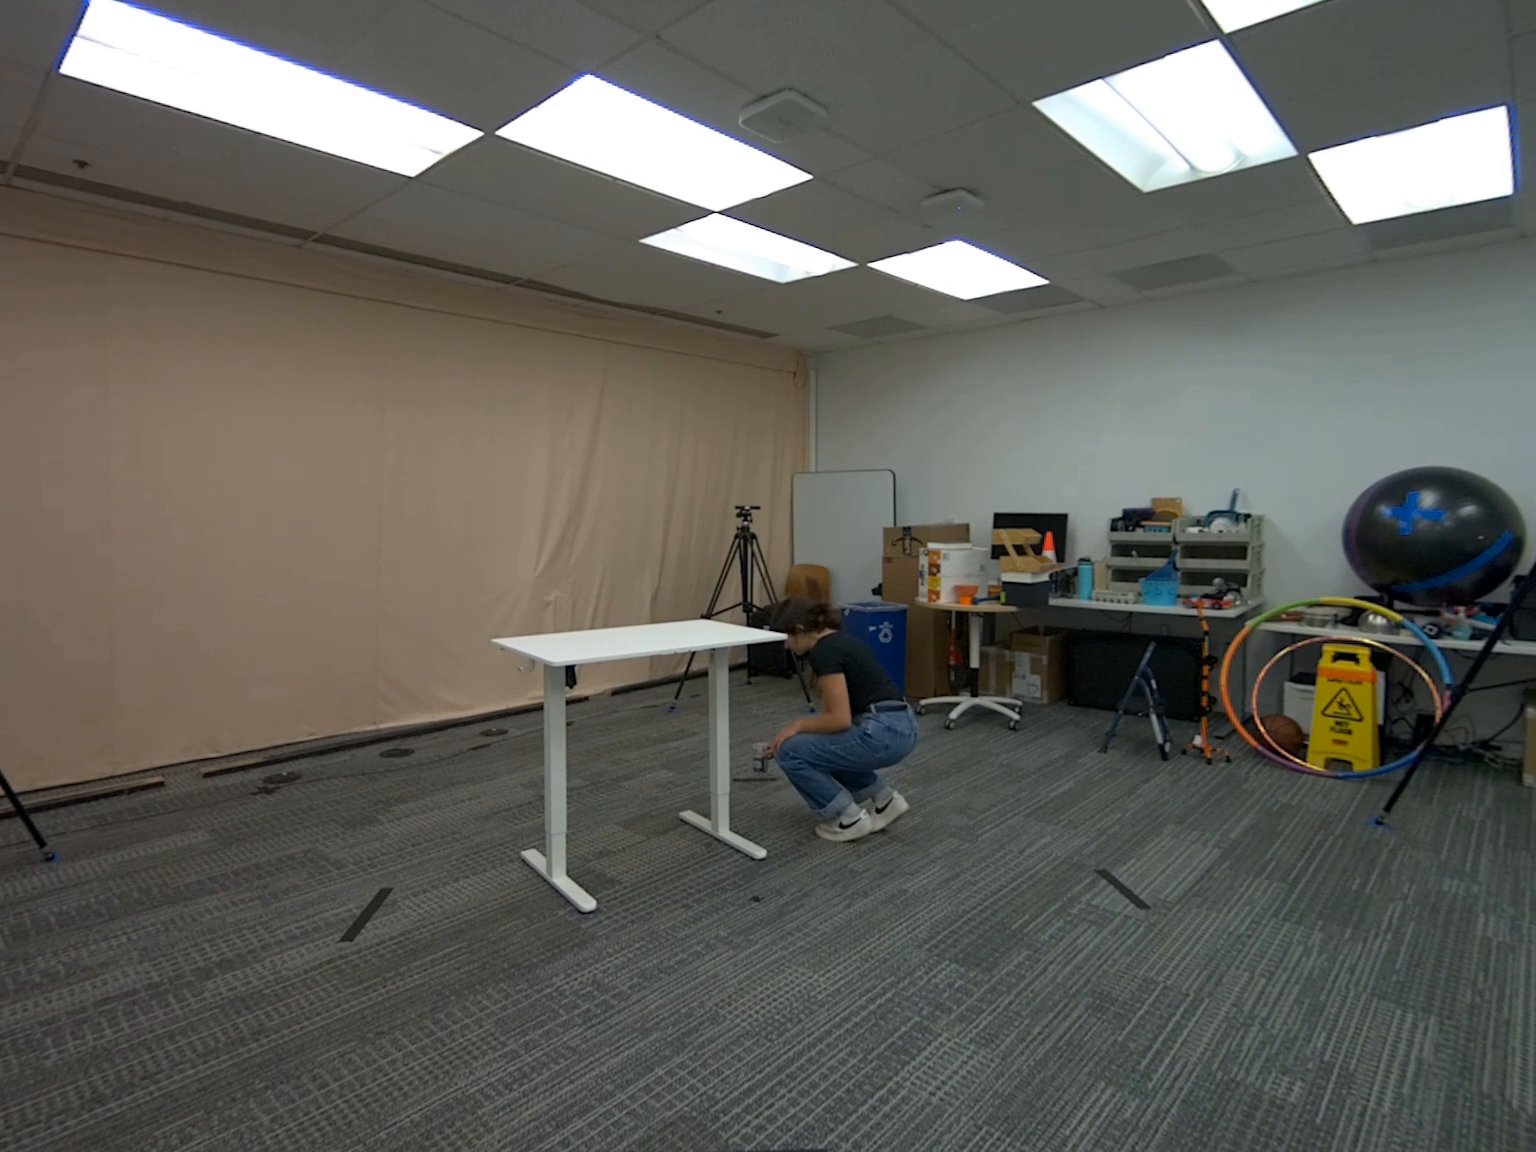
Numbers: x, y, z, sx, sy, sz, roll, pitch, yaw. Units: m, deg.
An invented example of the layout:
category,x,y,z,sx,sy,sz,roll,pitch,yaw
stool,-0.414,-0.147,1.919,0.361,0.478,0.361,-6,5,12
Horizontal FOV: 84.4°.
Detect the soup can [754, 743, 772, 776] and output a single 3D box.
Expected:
category,x,y,z,sx,sy,sz,roll,pitch,yaw
soup can,-0.027,0.811,3.762,0.067,0.121,0.067,-3,0,-2
